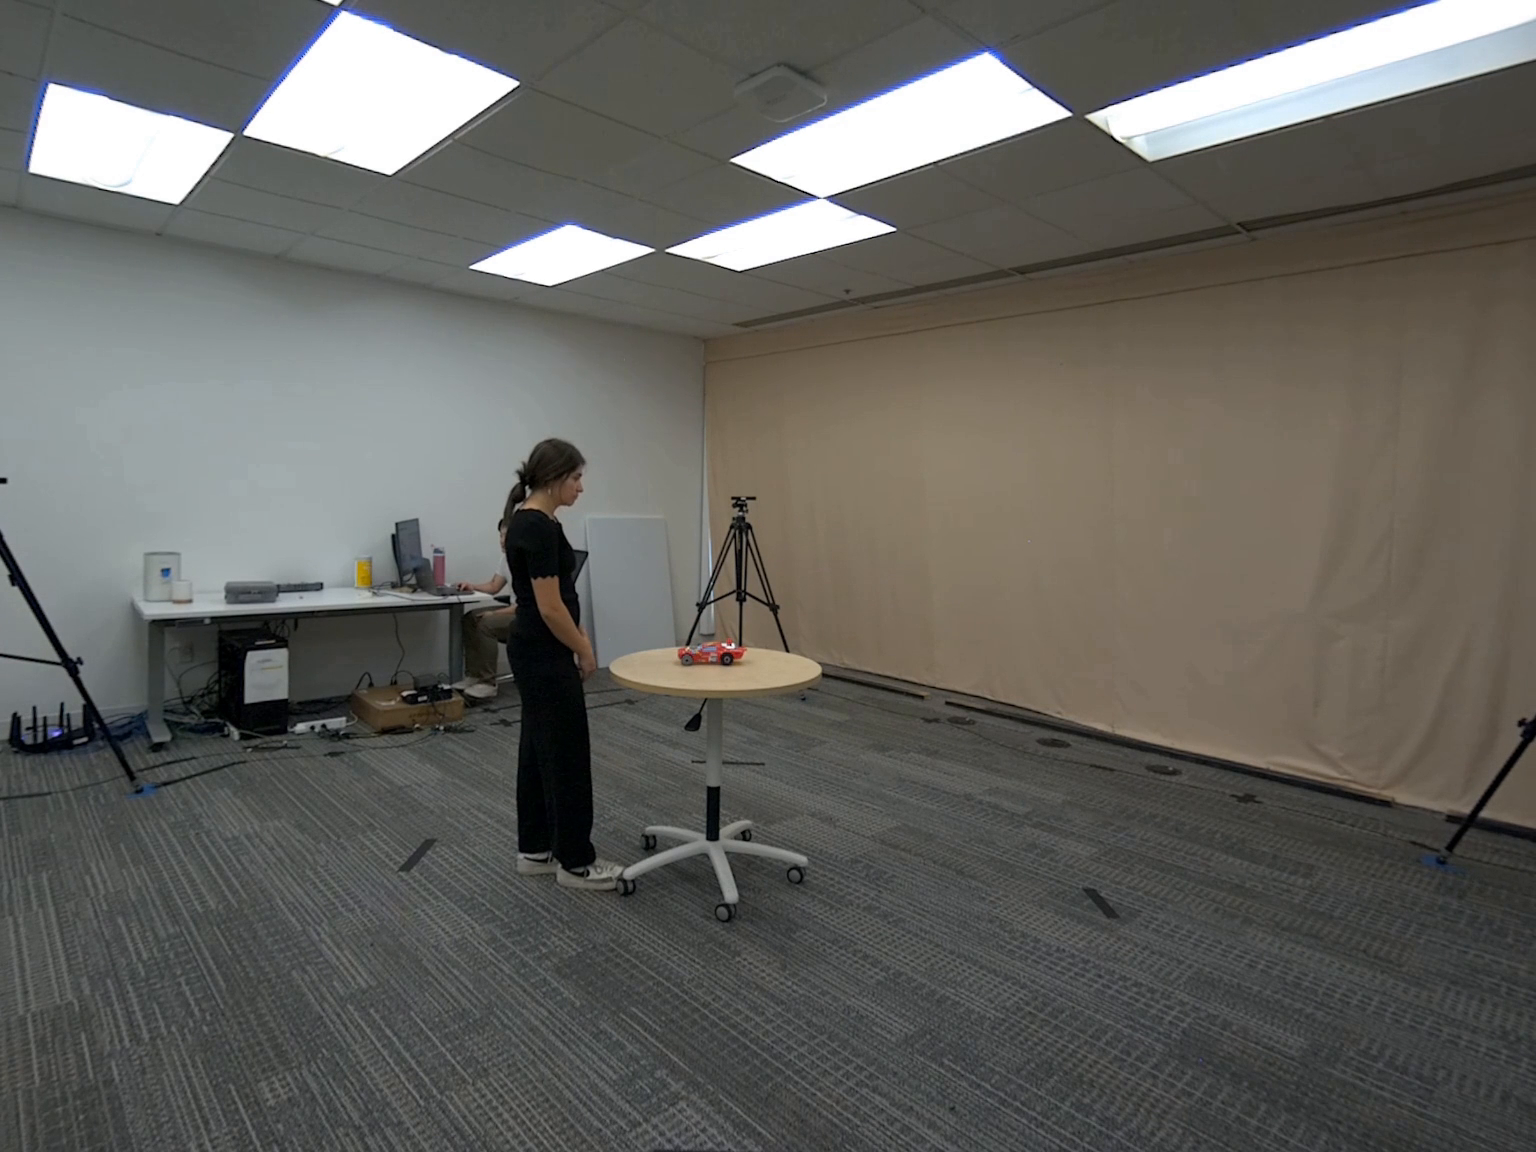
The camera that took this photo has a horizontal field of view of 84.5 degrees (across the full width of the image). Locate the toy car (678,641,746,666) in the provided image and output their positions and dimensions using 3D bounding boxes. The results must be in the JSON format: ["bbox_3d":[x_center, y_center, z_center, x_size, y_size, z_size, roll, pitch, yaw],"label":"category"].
[{"bbox_3d":[-0.212,0.287,3.093,0.254,0.083,0.131,-11,6,-1],"label":"toy car"}]
